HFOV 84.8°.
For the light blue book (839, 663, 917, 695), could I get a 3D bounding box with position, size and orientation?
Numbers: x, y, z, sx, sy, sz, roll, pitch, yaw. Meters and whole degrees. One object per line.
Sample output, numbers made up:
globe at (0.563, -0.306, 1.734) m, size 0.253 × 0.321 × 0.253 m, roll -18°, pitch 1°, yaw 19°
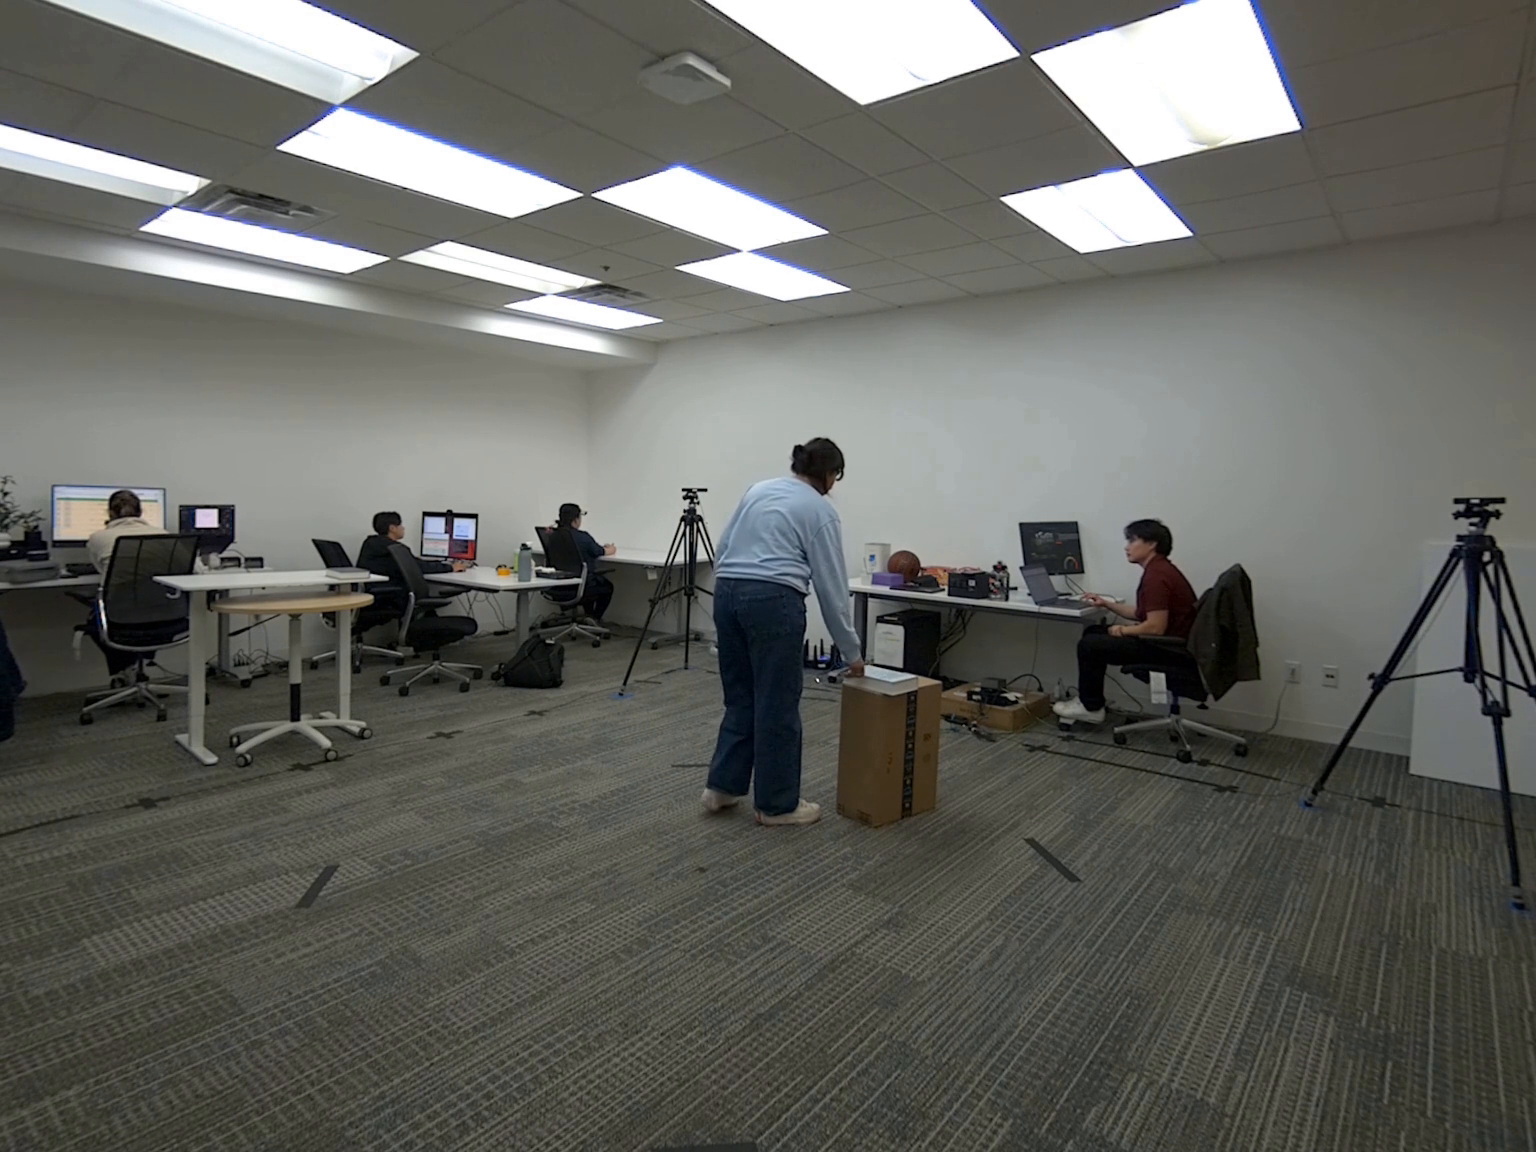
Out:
light blue book at (0.472, 0.438, 3.622) m, size 0.185 × 0.059 × 0.270 m, roll -5°, pitch 9°, yaw -44°
